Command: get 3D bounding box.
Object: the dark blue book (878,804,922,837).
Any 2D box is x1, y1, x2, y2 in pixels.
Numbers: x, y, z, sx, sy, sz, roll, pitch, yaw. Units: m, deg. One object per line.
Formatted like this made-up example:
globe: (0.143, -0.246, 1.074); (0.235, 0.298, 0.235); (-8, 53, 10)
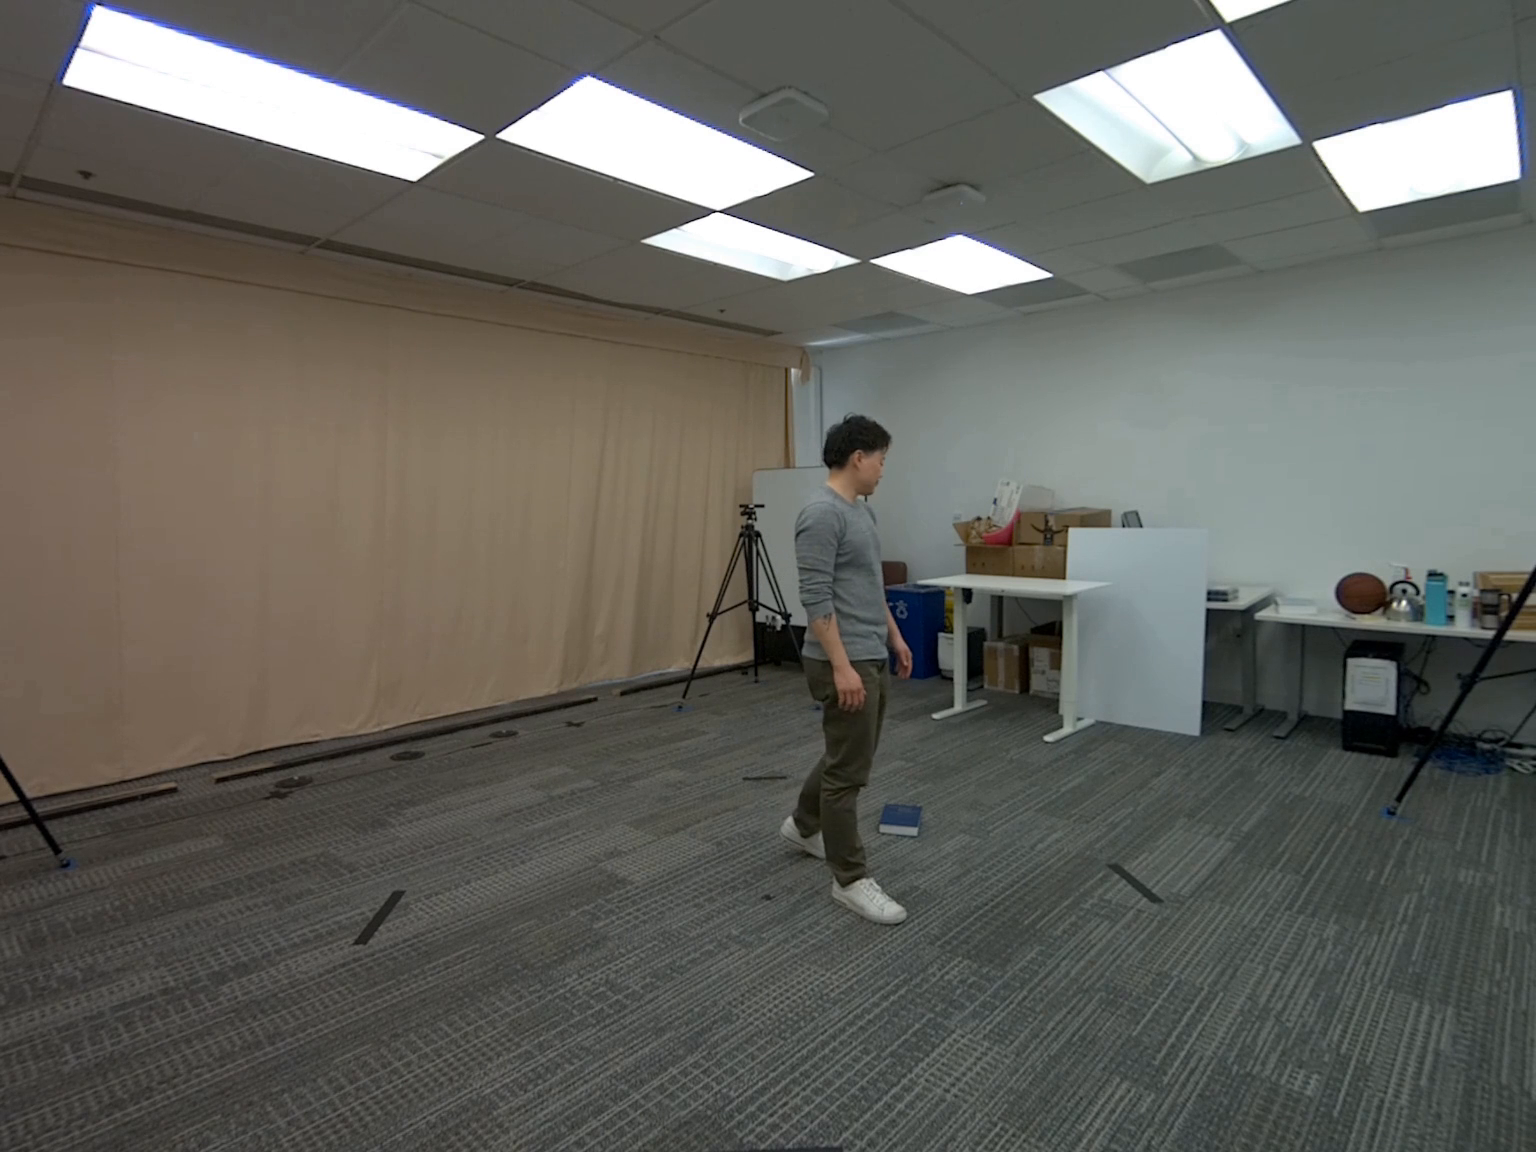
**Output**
dark blue book: (0.578, 1.049, 3.630); (0.166, 0.045, 0.241); (0, 5, 15)
